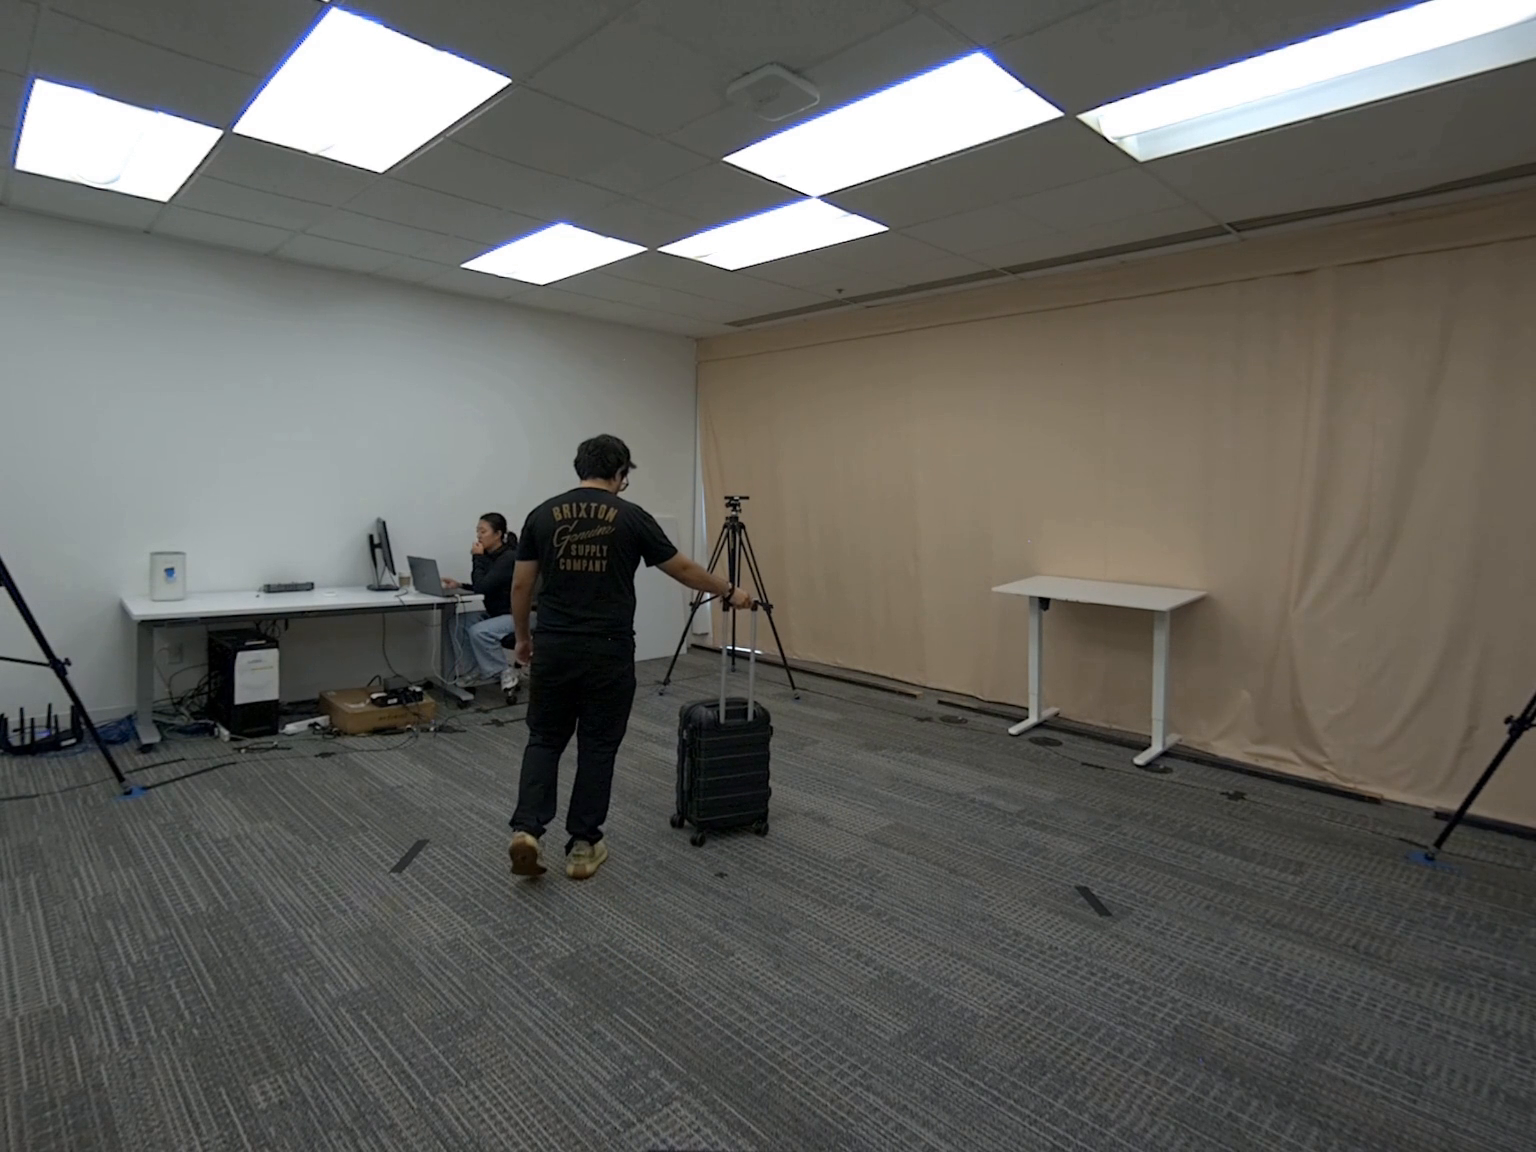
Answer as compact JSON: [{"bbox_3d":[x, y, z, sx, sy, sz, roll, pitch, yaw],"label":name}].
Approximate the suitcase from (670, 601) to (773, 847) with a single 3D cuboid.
[{"bbox_3d":[-0.192,0.589,3.523,0.377,0.979,0.262,2,-1,-26],"label":"suitcase"}]
